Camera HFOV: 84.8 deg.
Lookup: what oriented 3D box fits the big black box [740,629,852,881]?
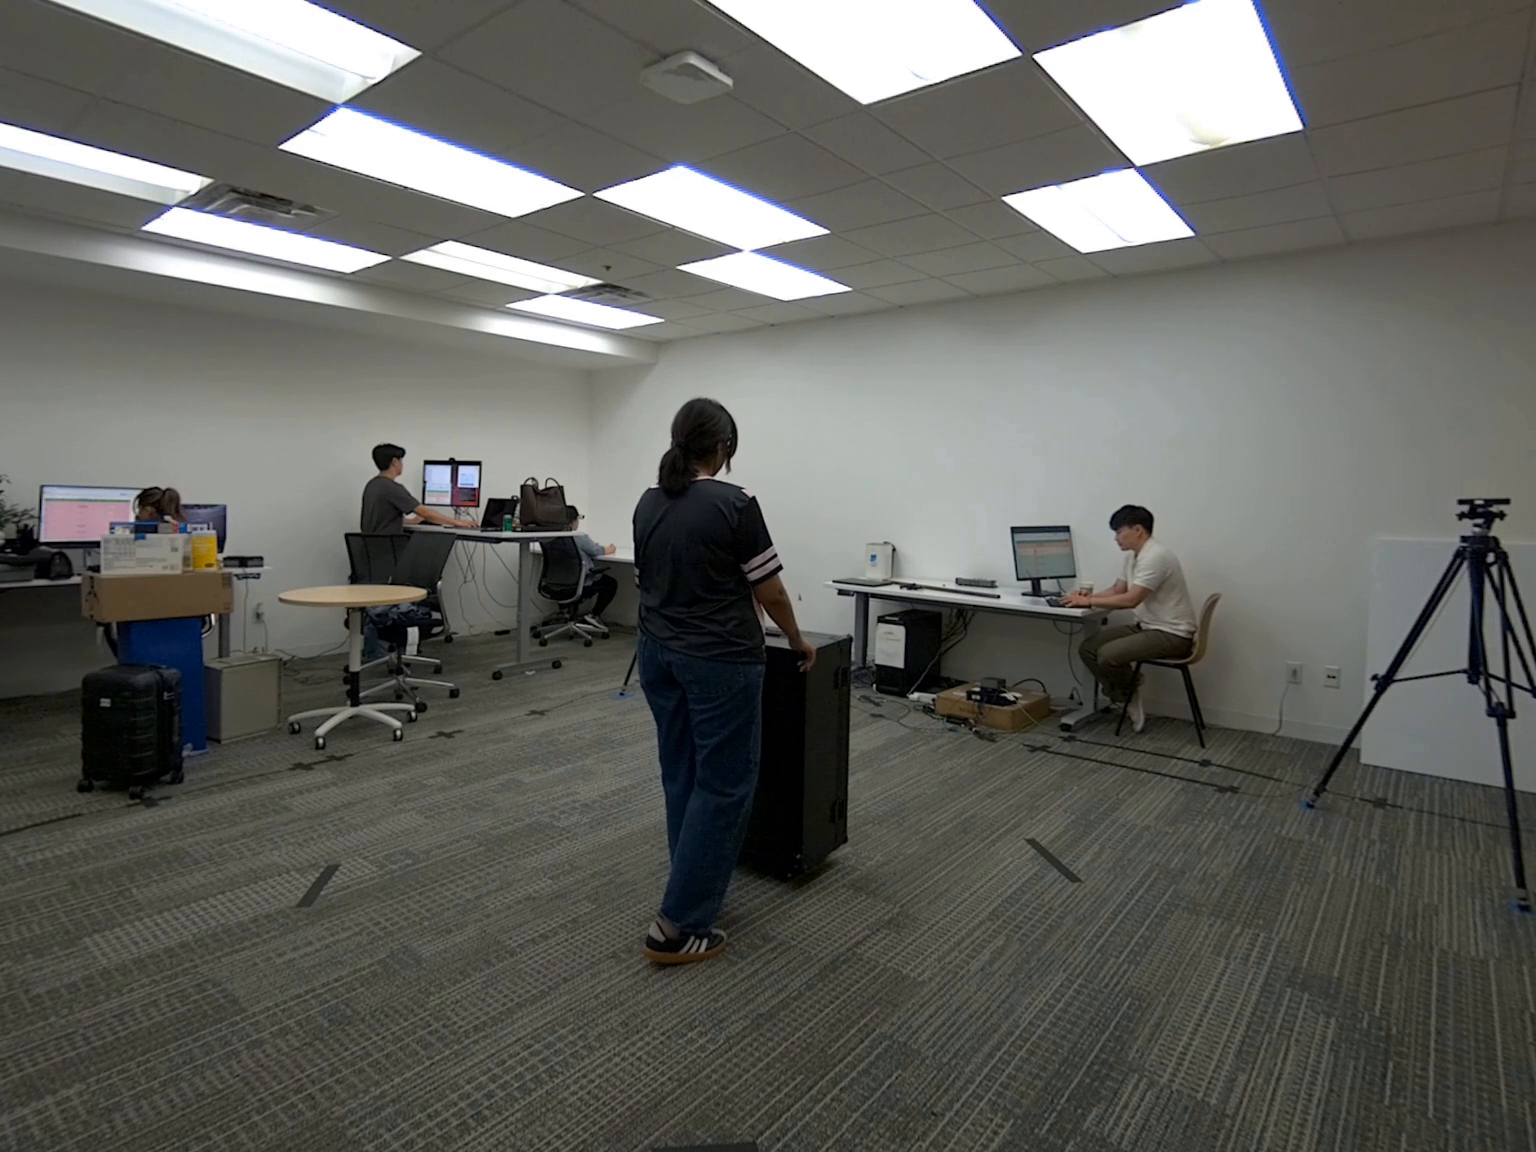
[{"bbox_3d":[0.011,0.647,3.172,0.539,0.866,0.375,3,4,32],"label":"big black box"}]
